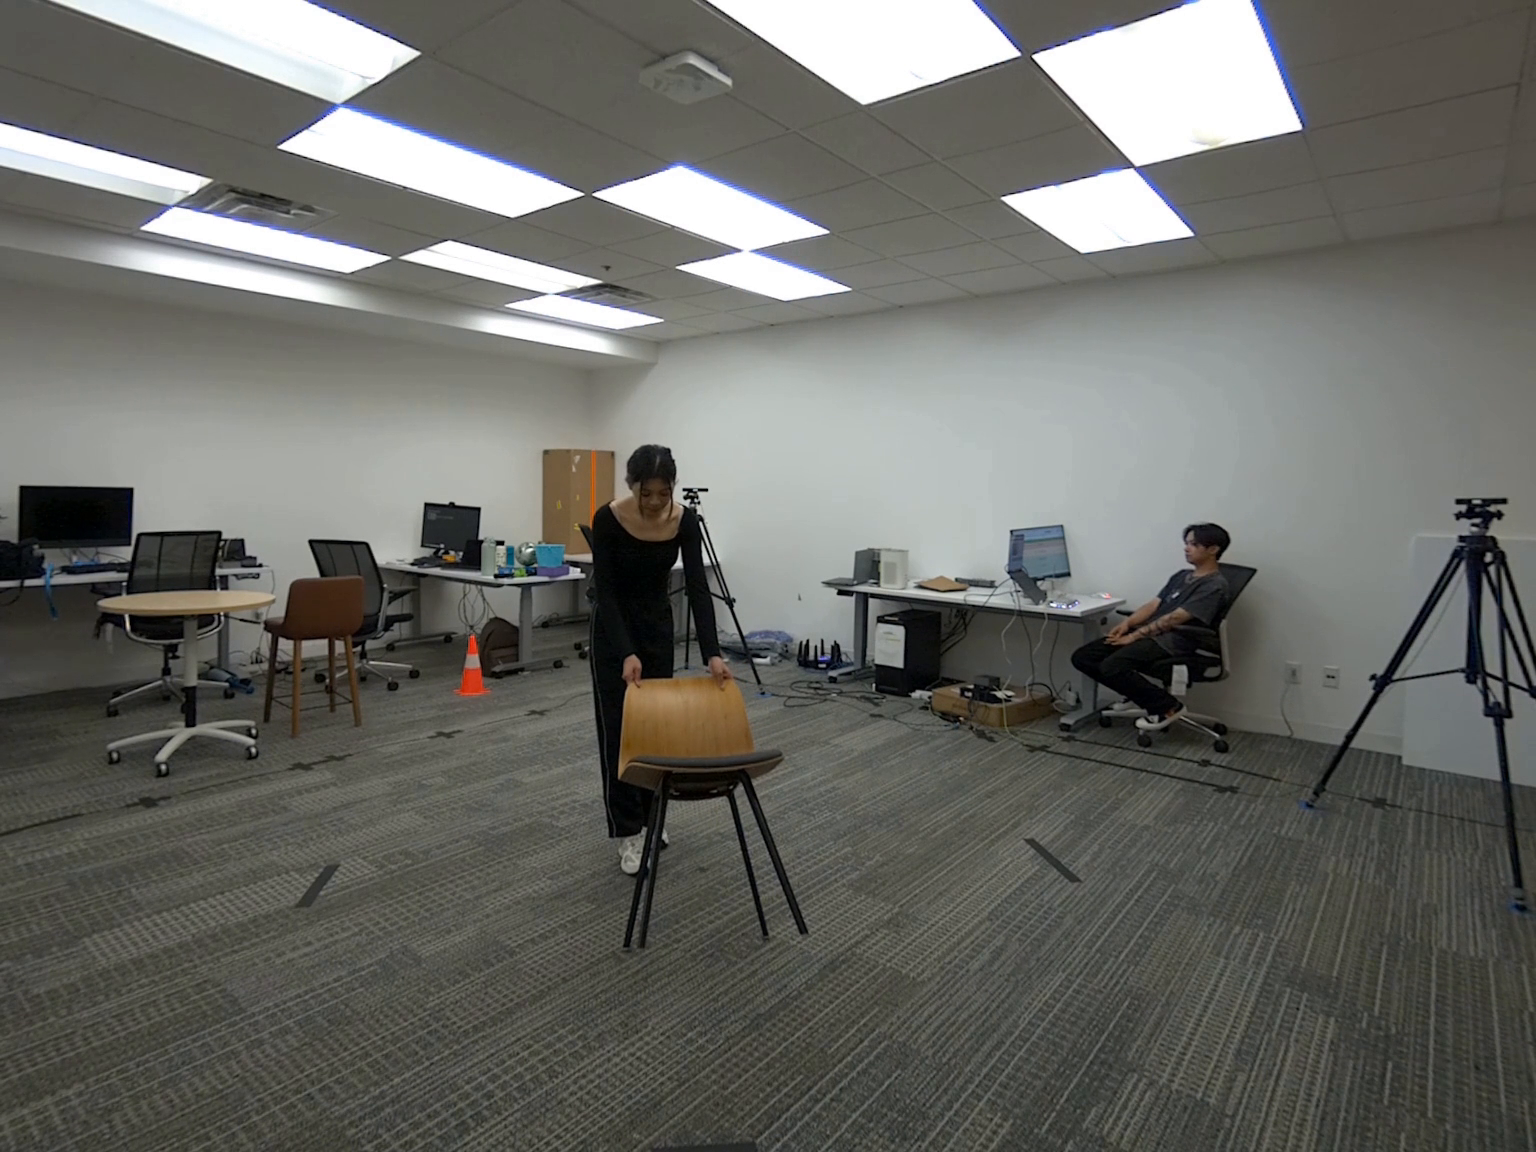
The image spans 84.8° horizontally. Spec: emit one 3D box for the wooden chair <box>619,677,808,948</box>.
[{"bbox_3d":[-0.212,0.631,2.575,0.472,0.901,0.516,0,-29,-13],"label":"wooden chair"}]
